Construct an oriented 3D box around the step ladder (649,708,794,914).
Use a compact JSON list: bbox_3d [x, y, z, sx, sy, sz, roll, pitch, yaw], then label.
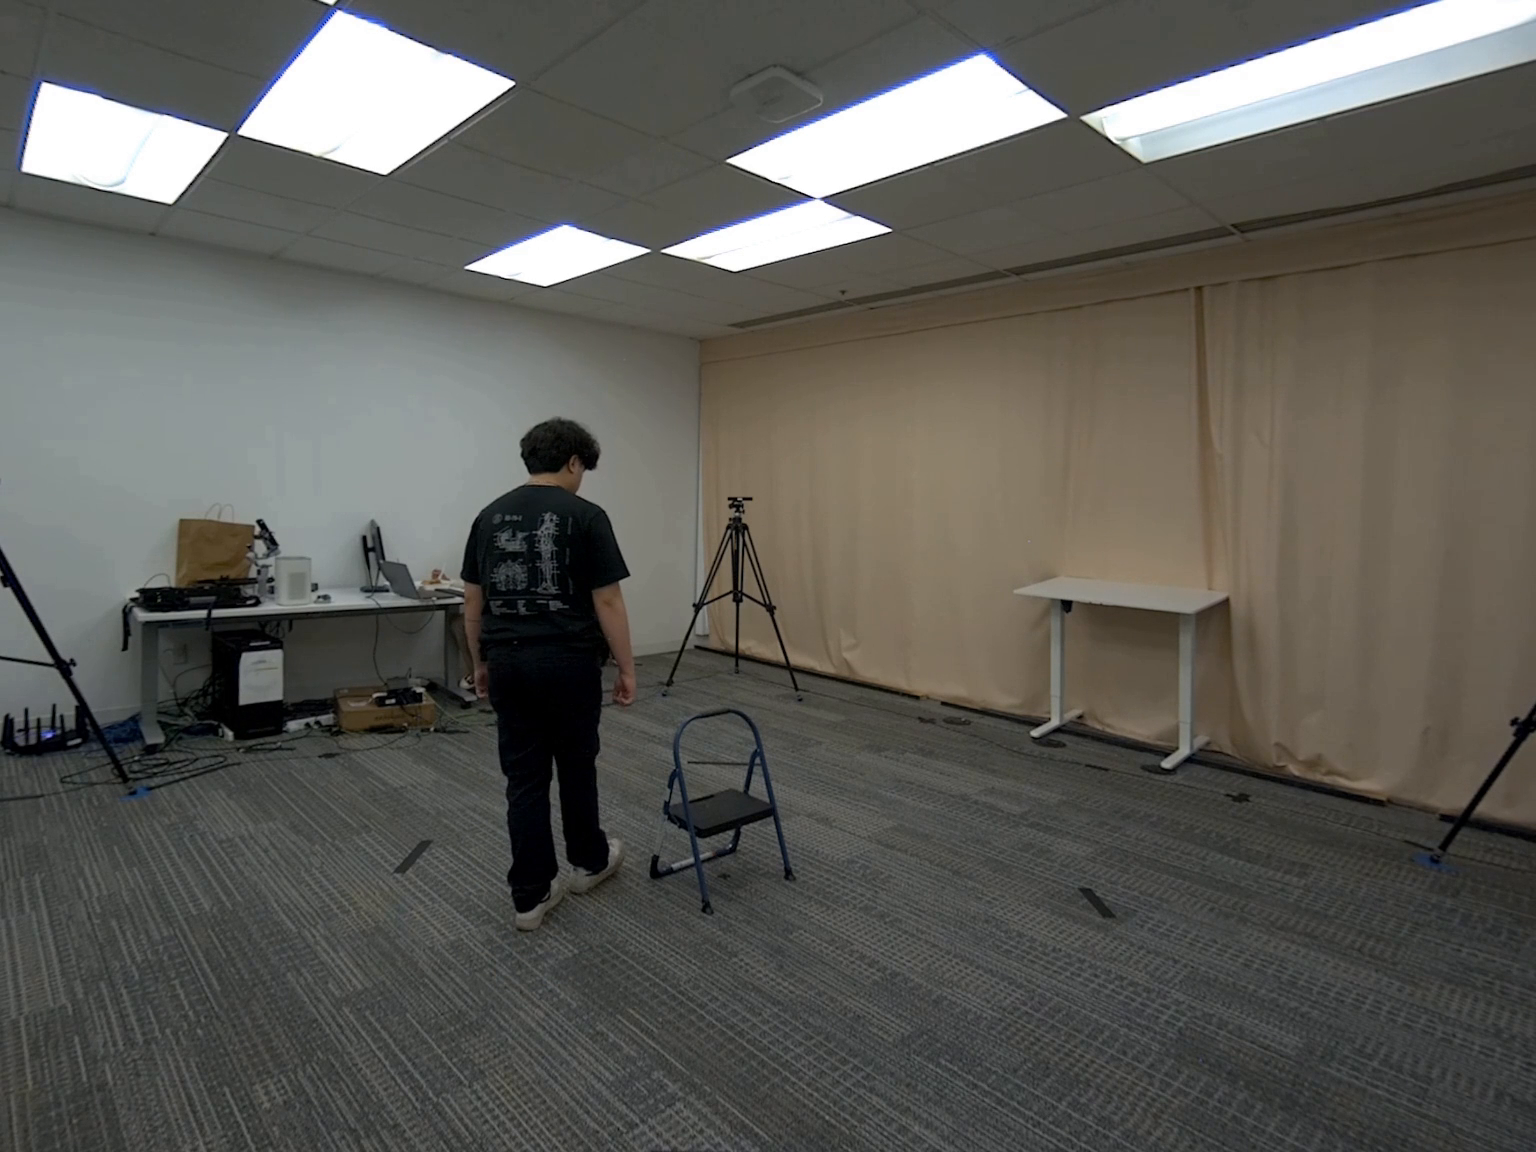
[{"bbox_3d":[-0.167,0.807,3.065,0.421,0.604,0.358,-2,5,-44],"label":"step ladder"}]
